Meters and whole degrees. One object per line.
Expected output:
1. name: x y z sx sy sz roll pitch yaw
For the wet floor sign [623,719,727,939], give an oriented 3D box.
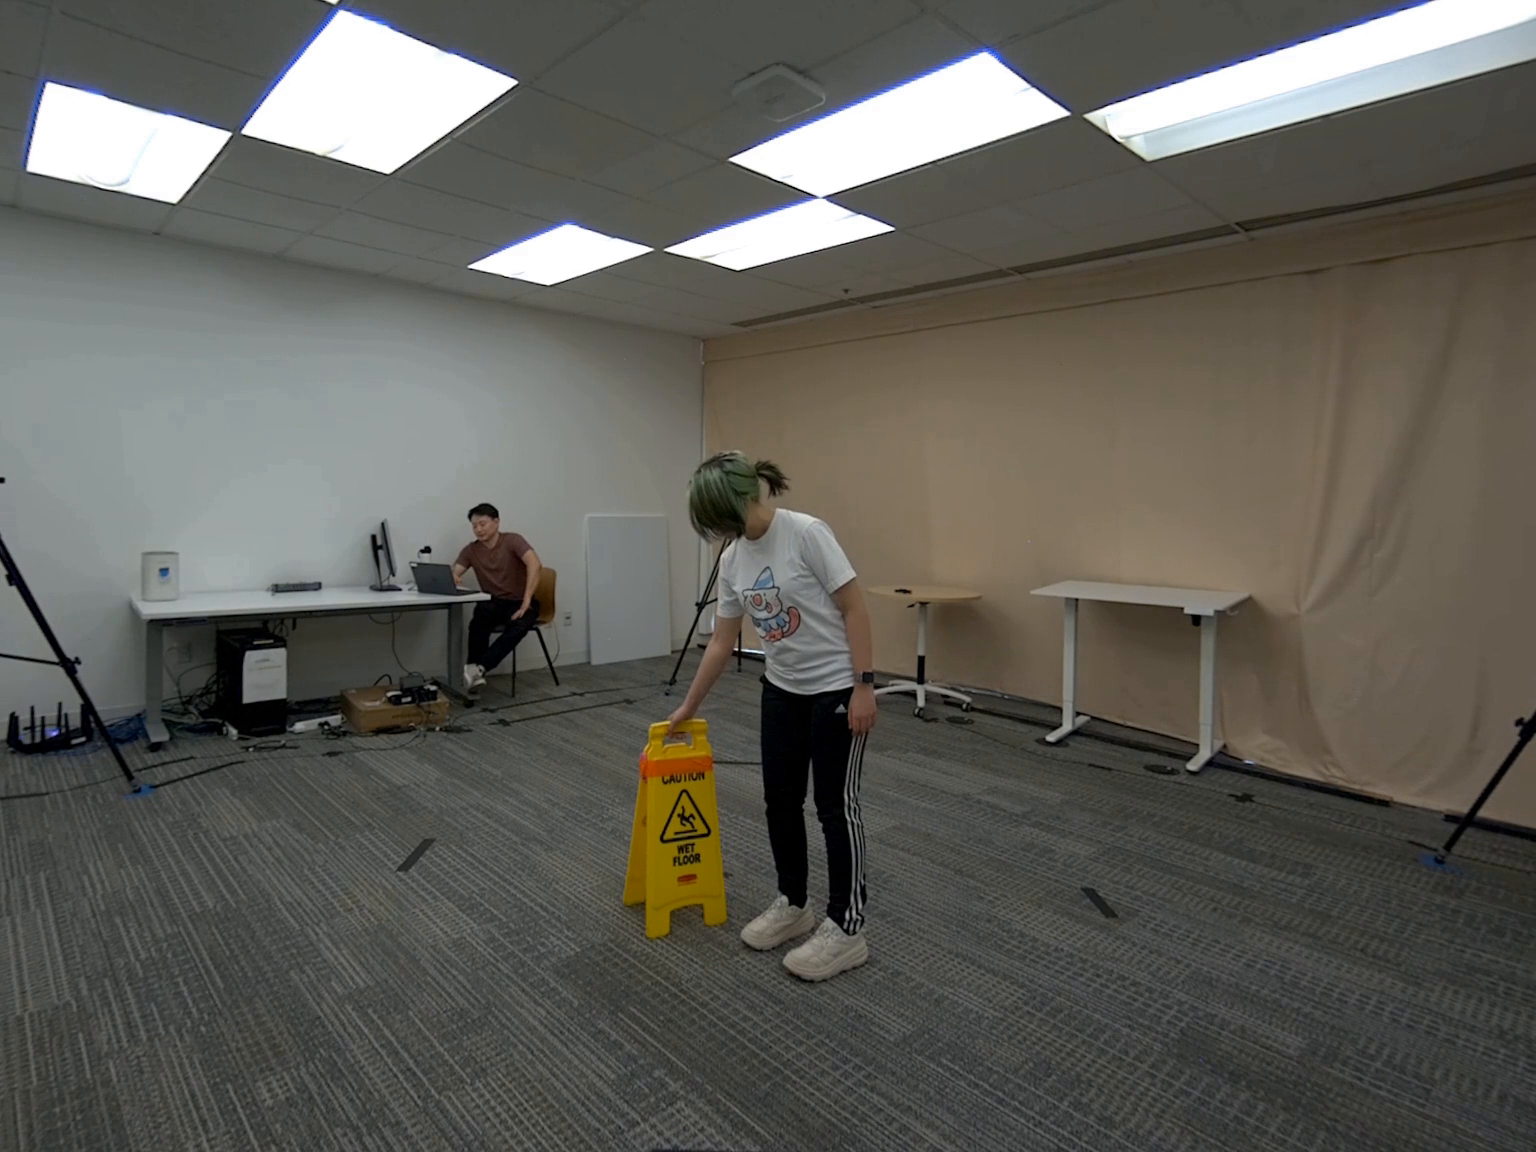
1. wet floor sign: -0.306 0.800 2.789 0.277 0.644 0.296 -1 4 -26
